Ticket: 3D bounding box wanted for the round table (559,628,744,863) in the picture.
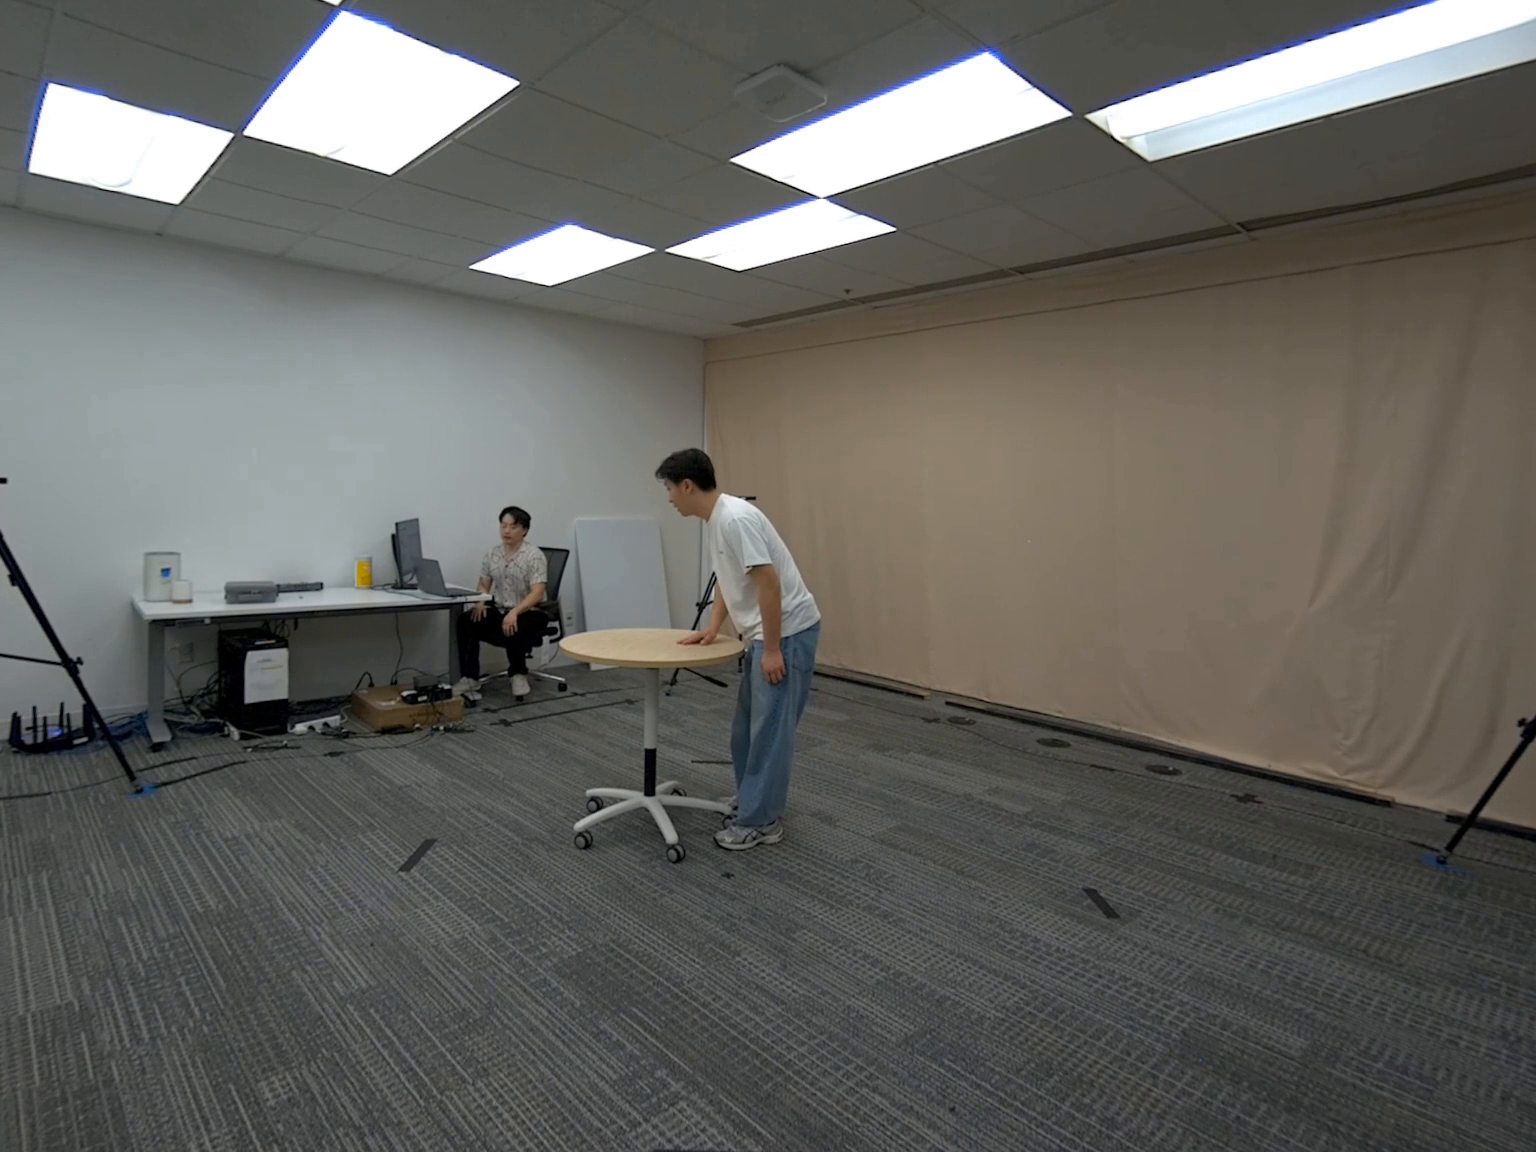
[{"bbox_3d":[-0.495,0.670,3.507,0.763,0.792,0.766,1,4,-1],"label":"round table"}]
